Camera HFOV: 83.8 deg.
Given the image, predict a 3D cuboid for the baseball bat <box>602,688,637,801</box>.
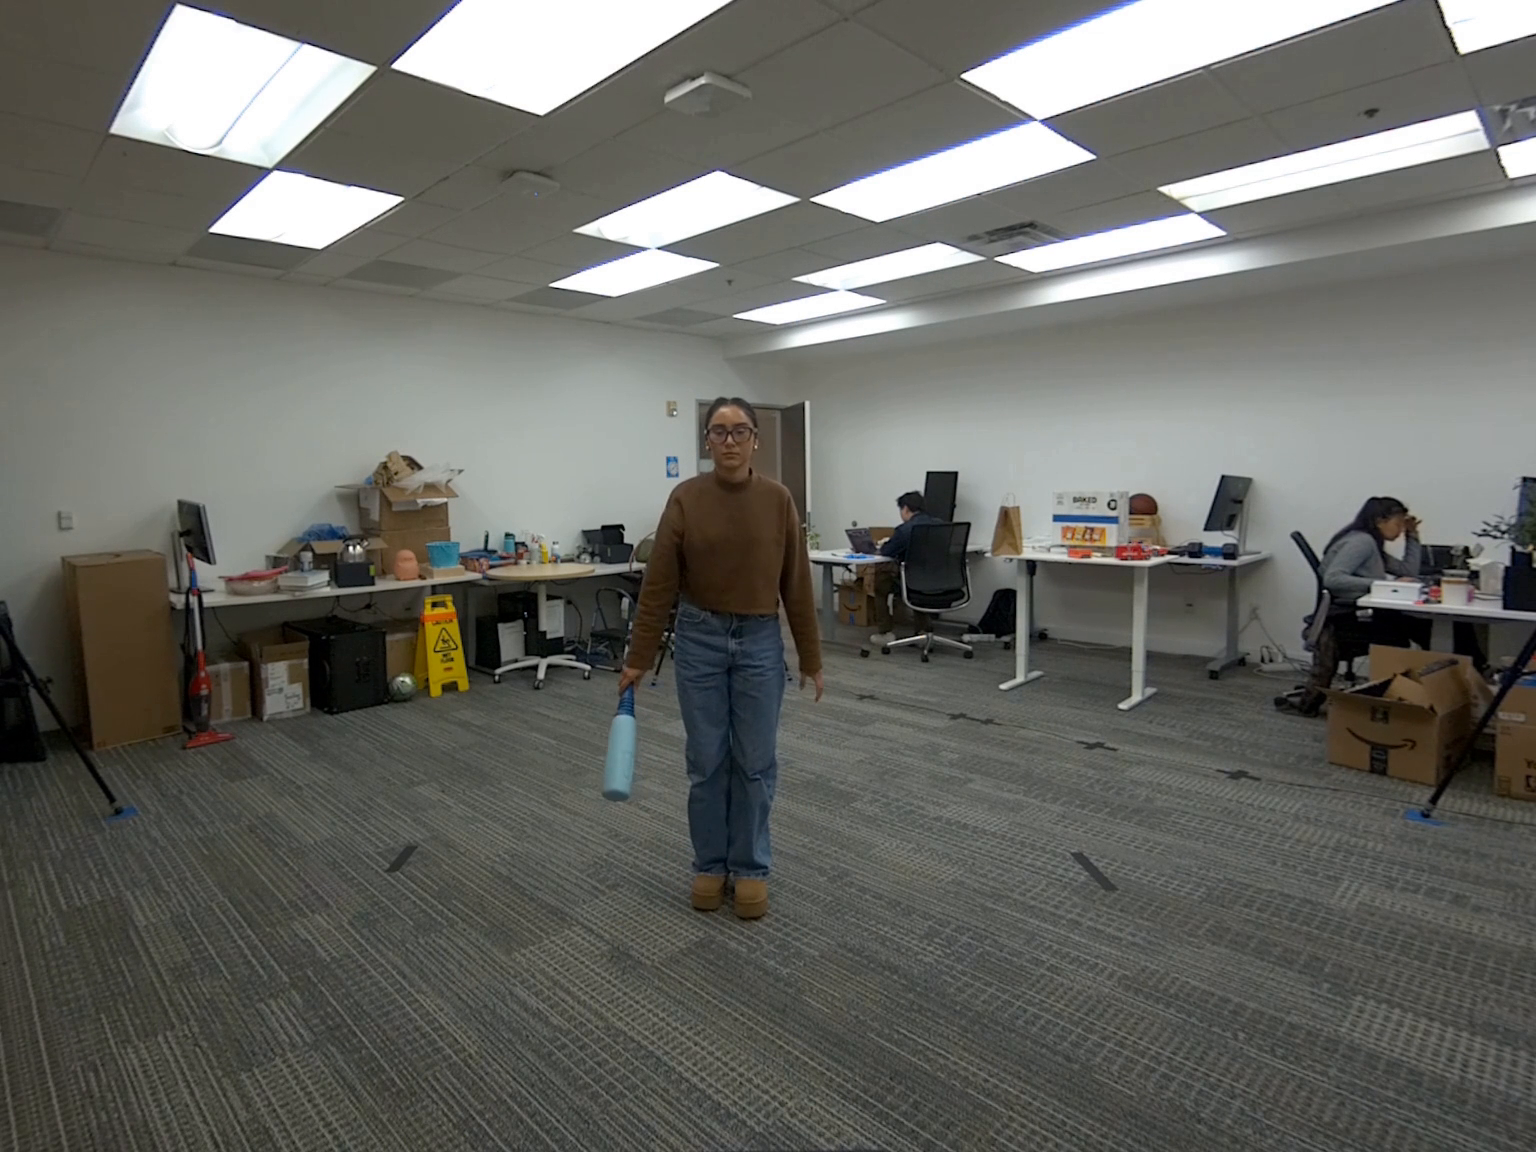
[{"bbox_3d":[-0.443,0.435,2.670,0.089,0.557,0.087,0,-38,-1],"label":"baseball bat"}]
